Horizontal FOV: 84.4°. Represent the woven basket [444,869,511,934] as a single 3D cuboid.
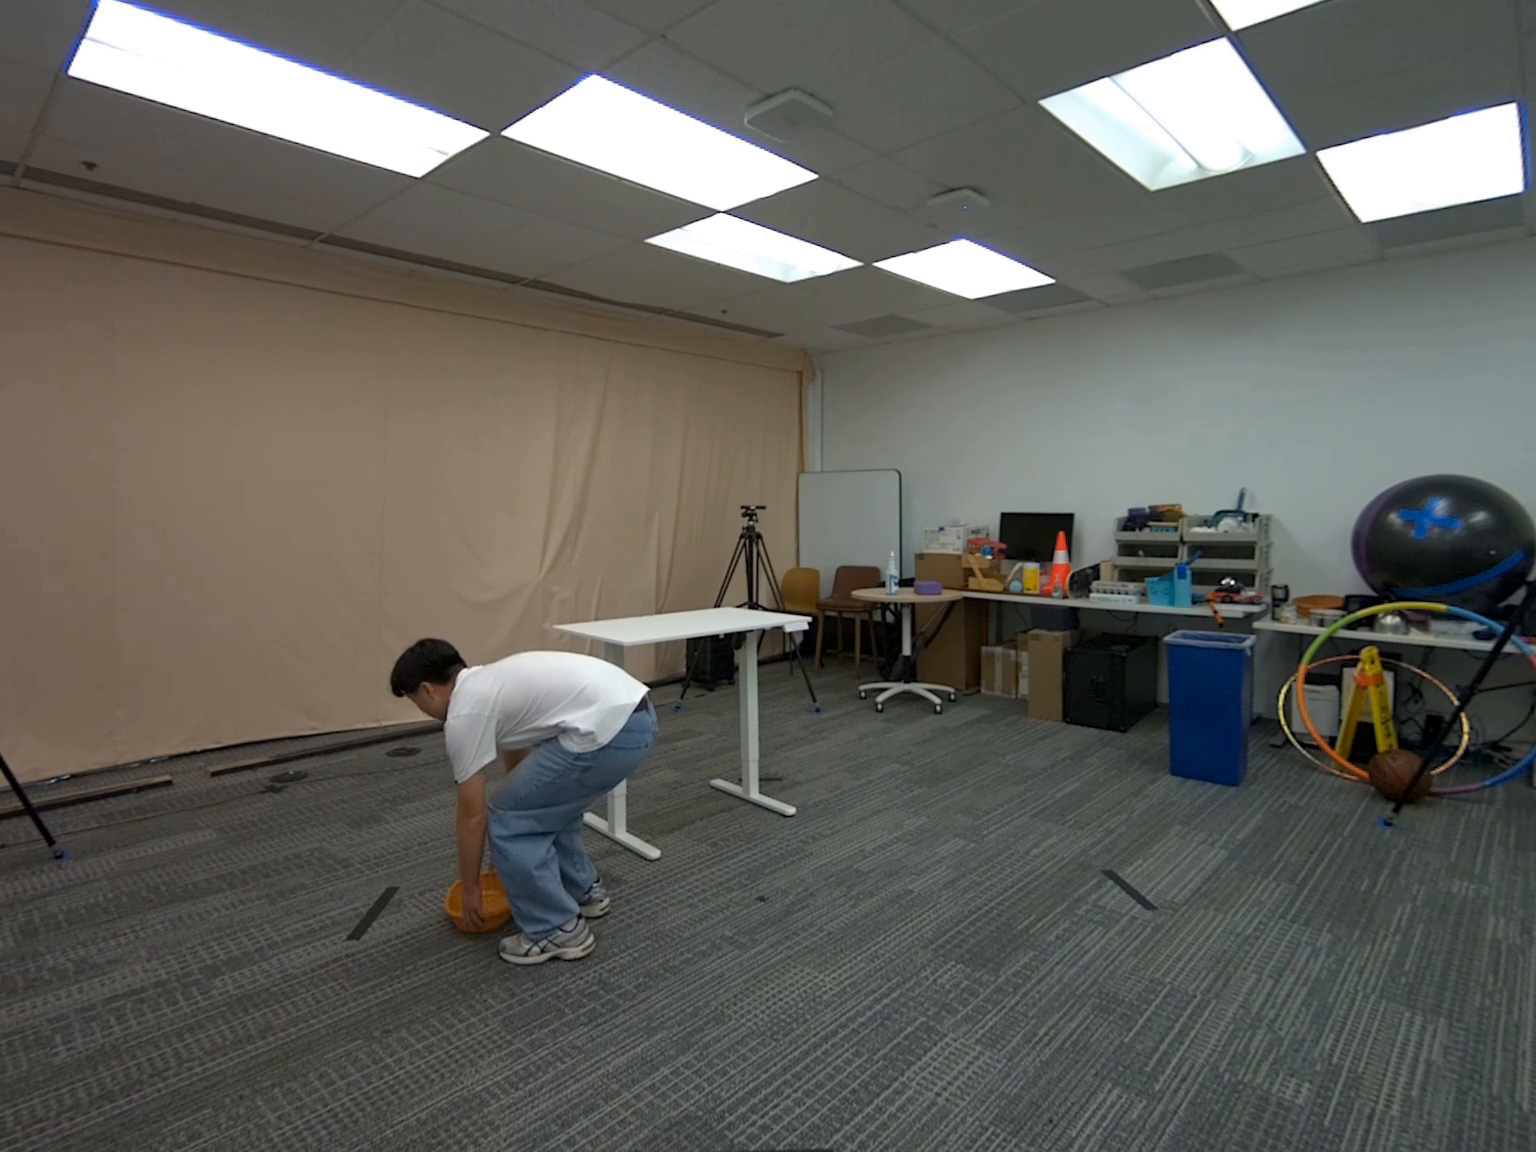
[{"bbox_3d":[-0.973,1.120,2.894,0.250,0.073,0.355,-1,4,-11],"label":"woven basket"}]
